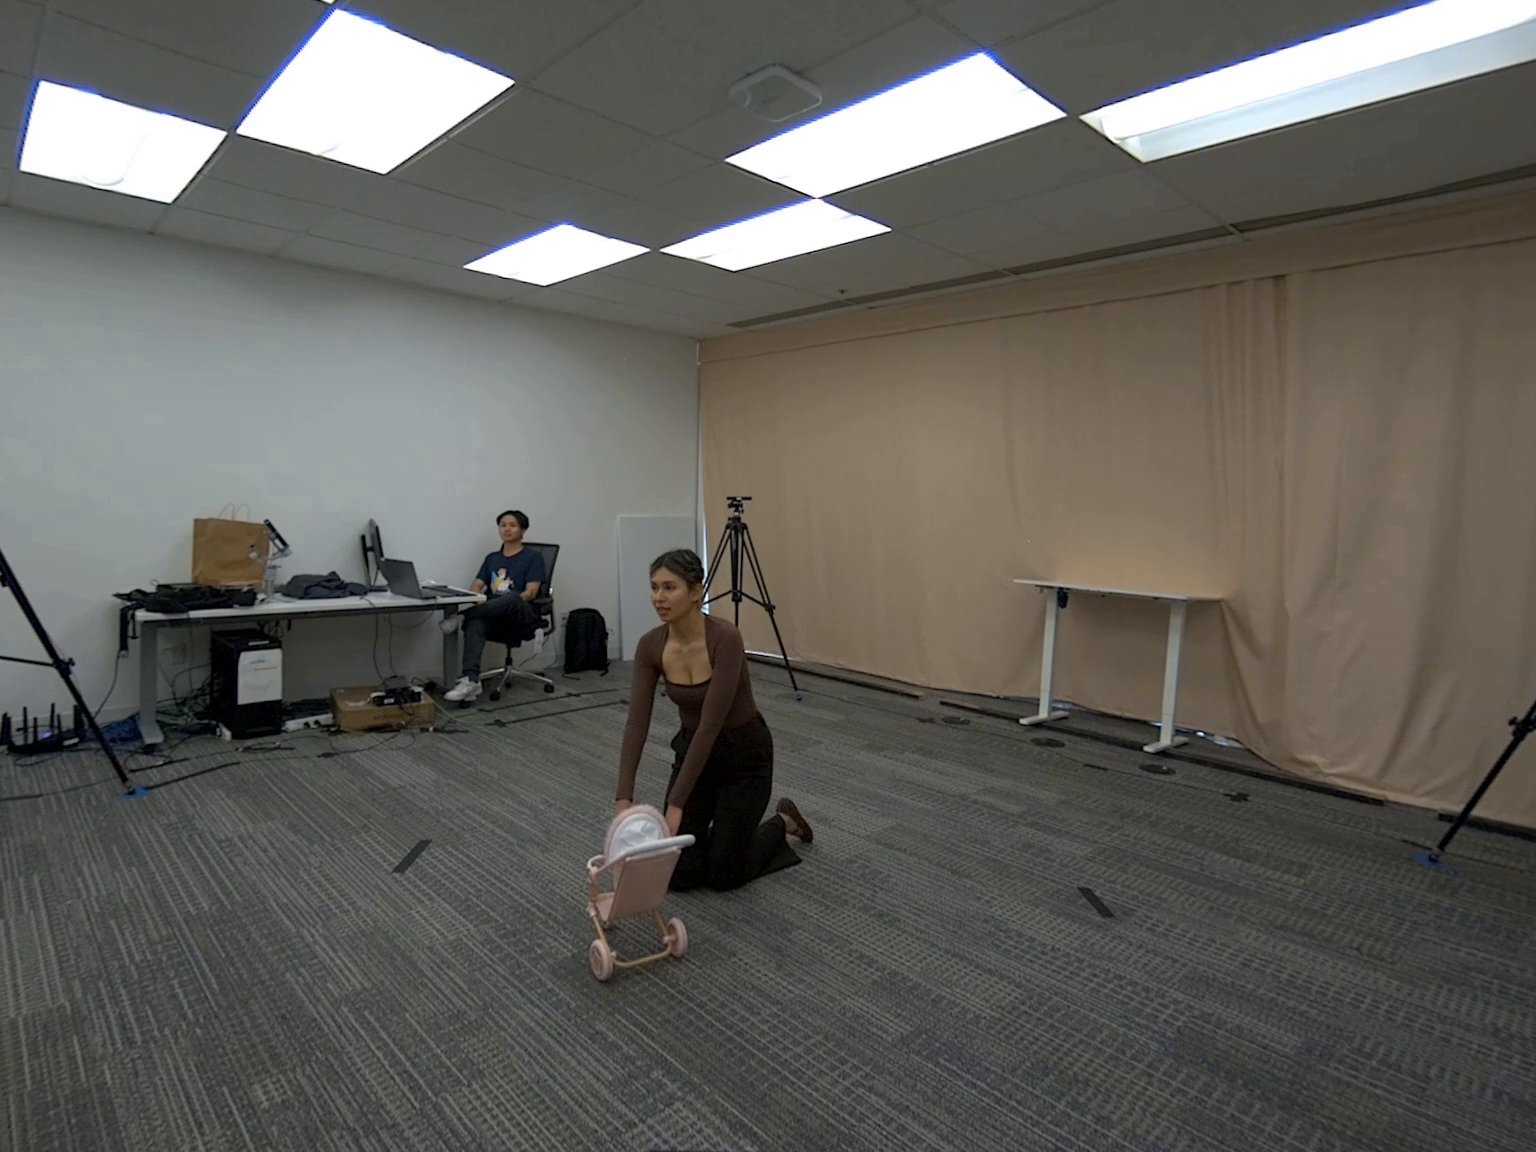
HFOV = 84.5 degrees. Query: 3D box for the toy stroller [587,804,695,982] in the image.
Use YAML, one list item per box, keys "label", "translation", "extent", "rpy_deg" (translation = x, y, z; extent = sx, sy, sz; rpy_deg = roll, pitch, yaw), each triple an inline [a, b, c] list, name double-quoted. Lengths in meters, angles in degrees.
- label: "toy stroller"
  translation: [-0.407, 0.920, 2.541]
  extent: [0.275, 0.530, 0.351]
  rpy_deg: [1, 17, -30]
